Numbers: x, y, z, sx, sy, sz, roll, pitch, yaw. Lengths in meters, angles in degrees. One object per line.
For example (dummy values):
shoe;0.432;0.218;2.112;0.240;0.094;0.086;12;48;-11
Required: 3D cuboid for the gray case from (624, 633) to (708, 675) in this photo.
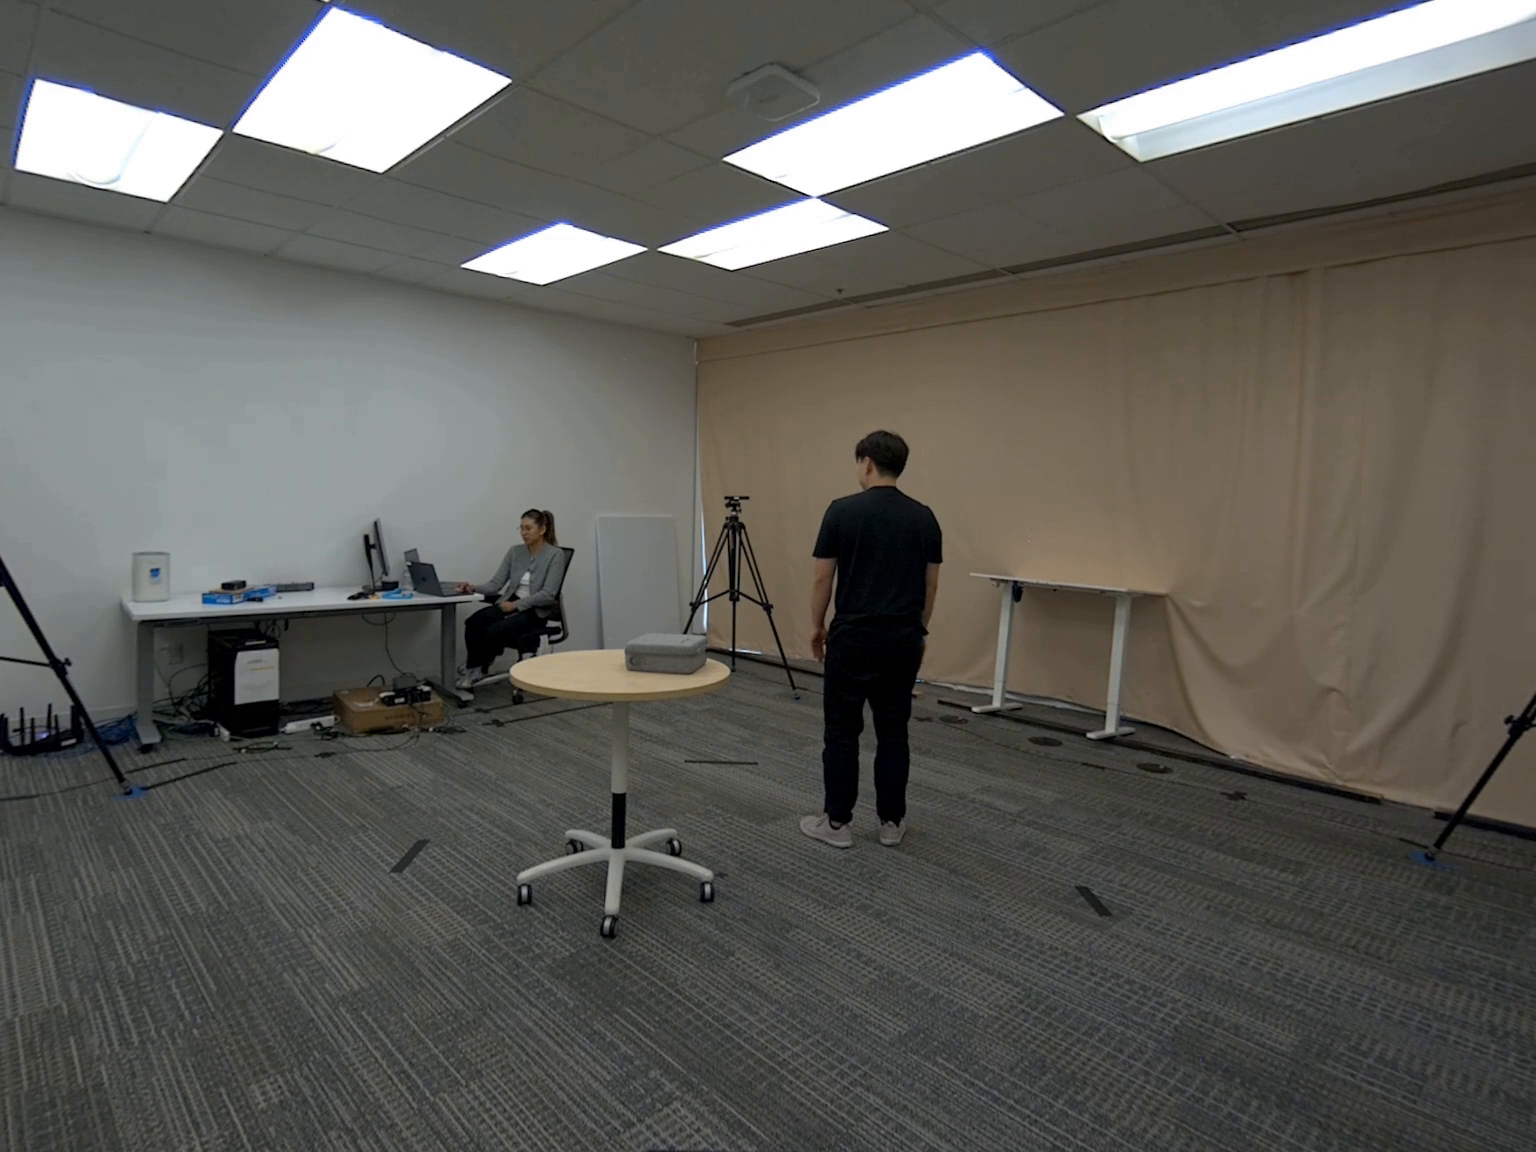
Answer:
gray case;-0.368;0.273;3.019;0.263;0.104;0.255;1;5;12
